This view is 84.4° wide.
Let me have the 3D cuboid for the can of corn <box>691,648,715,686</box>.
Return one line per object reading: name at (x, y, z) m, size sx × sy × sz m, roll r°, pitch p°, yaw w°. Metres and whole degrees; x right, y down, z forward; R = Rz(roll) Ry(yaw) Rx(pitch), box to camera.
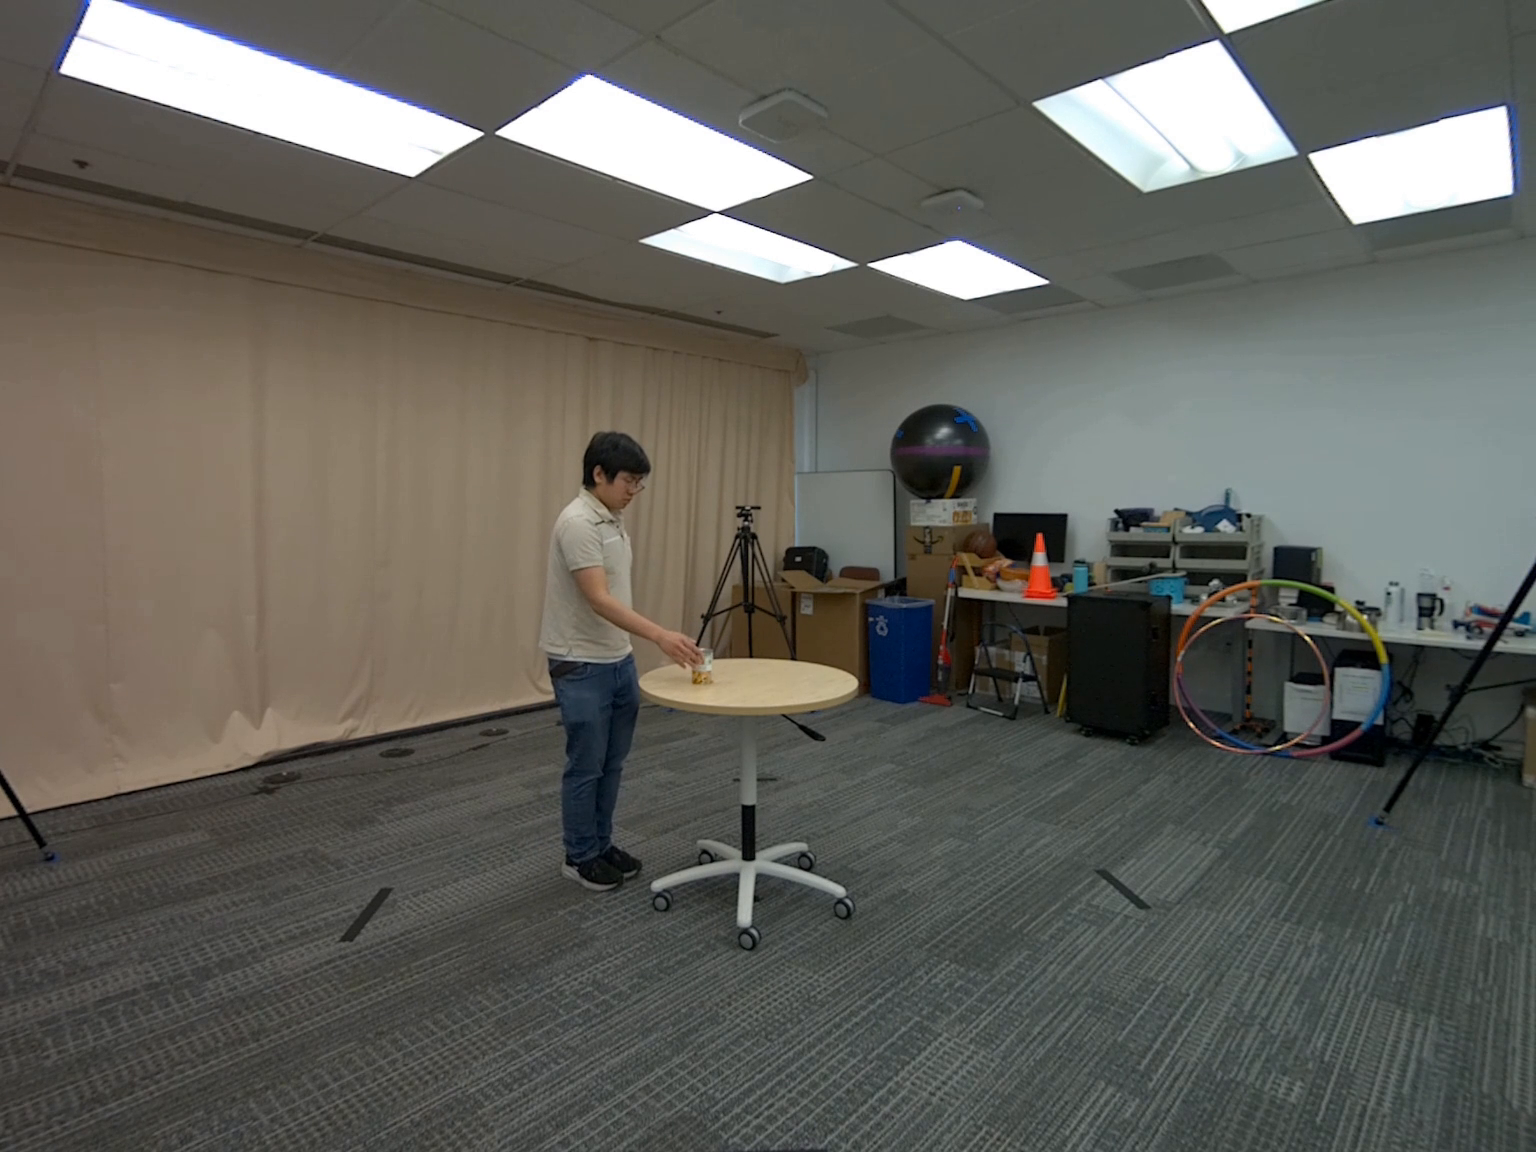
can of corn at (-0.220, 0.315, 2.901) m, size 0.074 × 0.110 × 0.074 m, roll -1°, pitch 6°, yaw -2°
